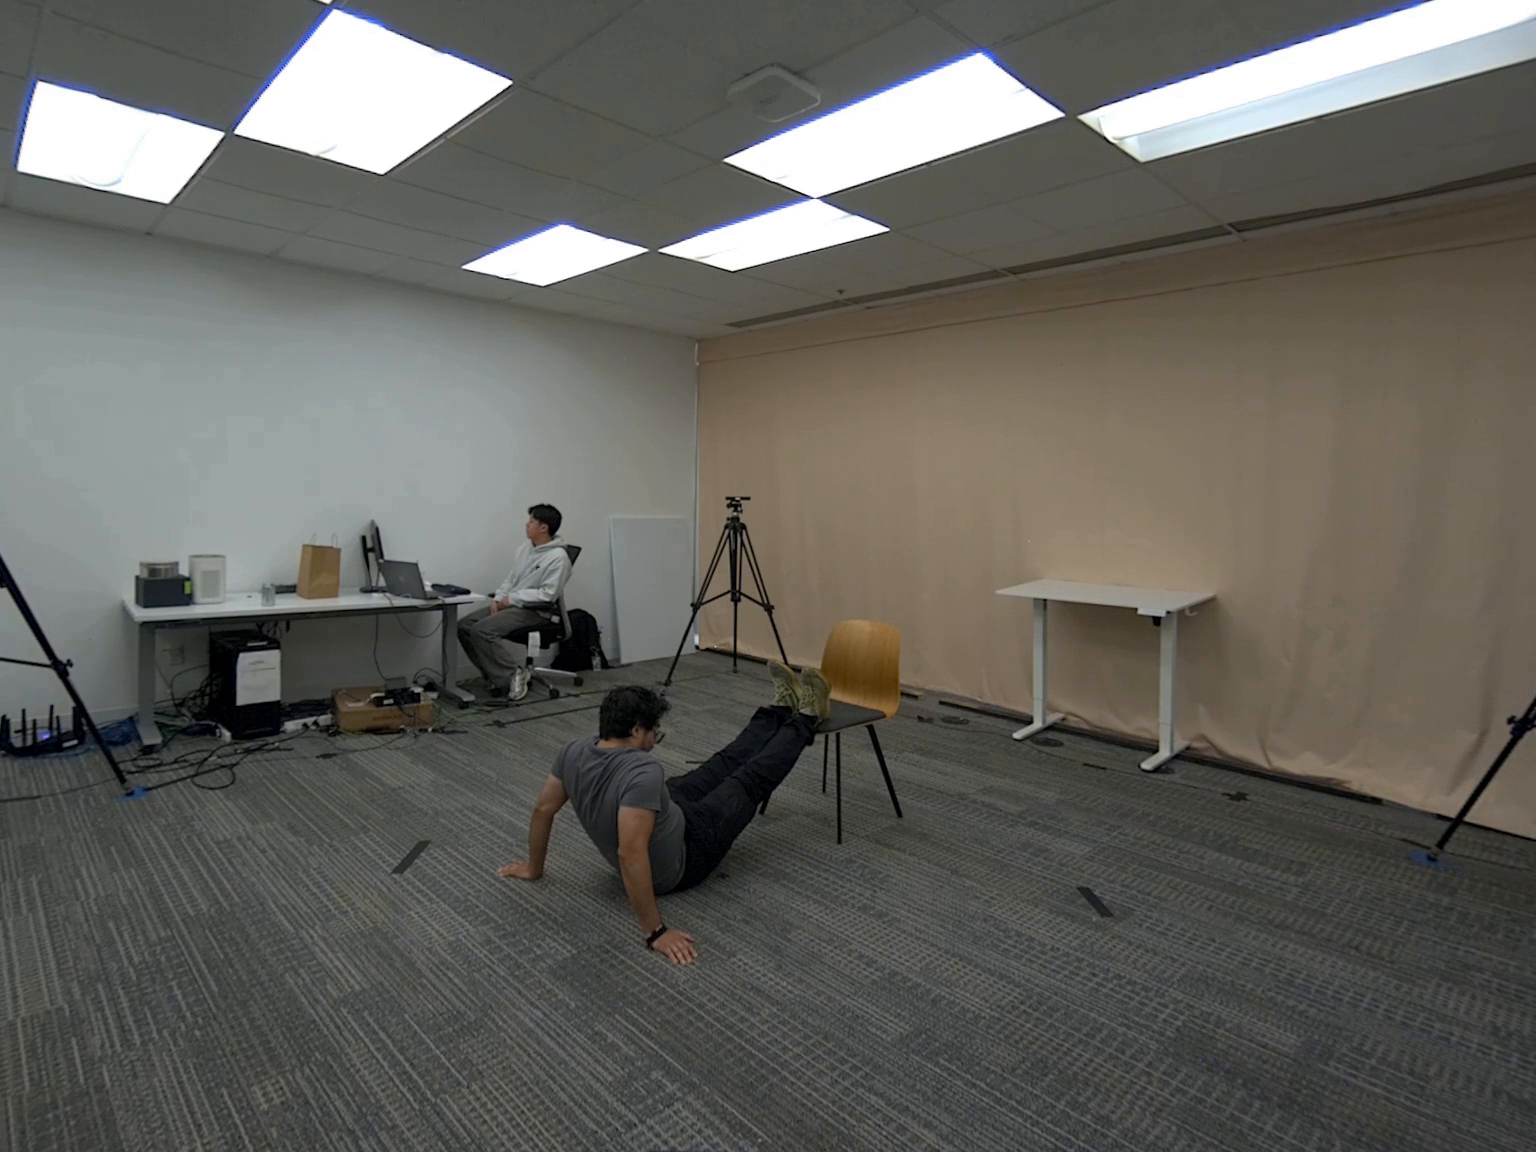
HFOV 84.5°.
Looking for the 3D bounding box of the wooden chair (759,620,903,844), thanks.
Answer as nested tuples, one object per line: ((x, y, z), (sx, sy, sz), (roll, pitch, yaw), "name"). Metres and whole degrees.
((0.275, 0.640, 3.701), (0.490, 0.877, 0.510), (4, 0, 44), "wooden chair")
